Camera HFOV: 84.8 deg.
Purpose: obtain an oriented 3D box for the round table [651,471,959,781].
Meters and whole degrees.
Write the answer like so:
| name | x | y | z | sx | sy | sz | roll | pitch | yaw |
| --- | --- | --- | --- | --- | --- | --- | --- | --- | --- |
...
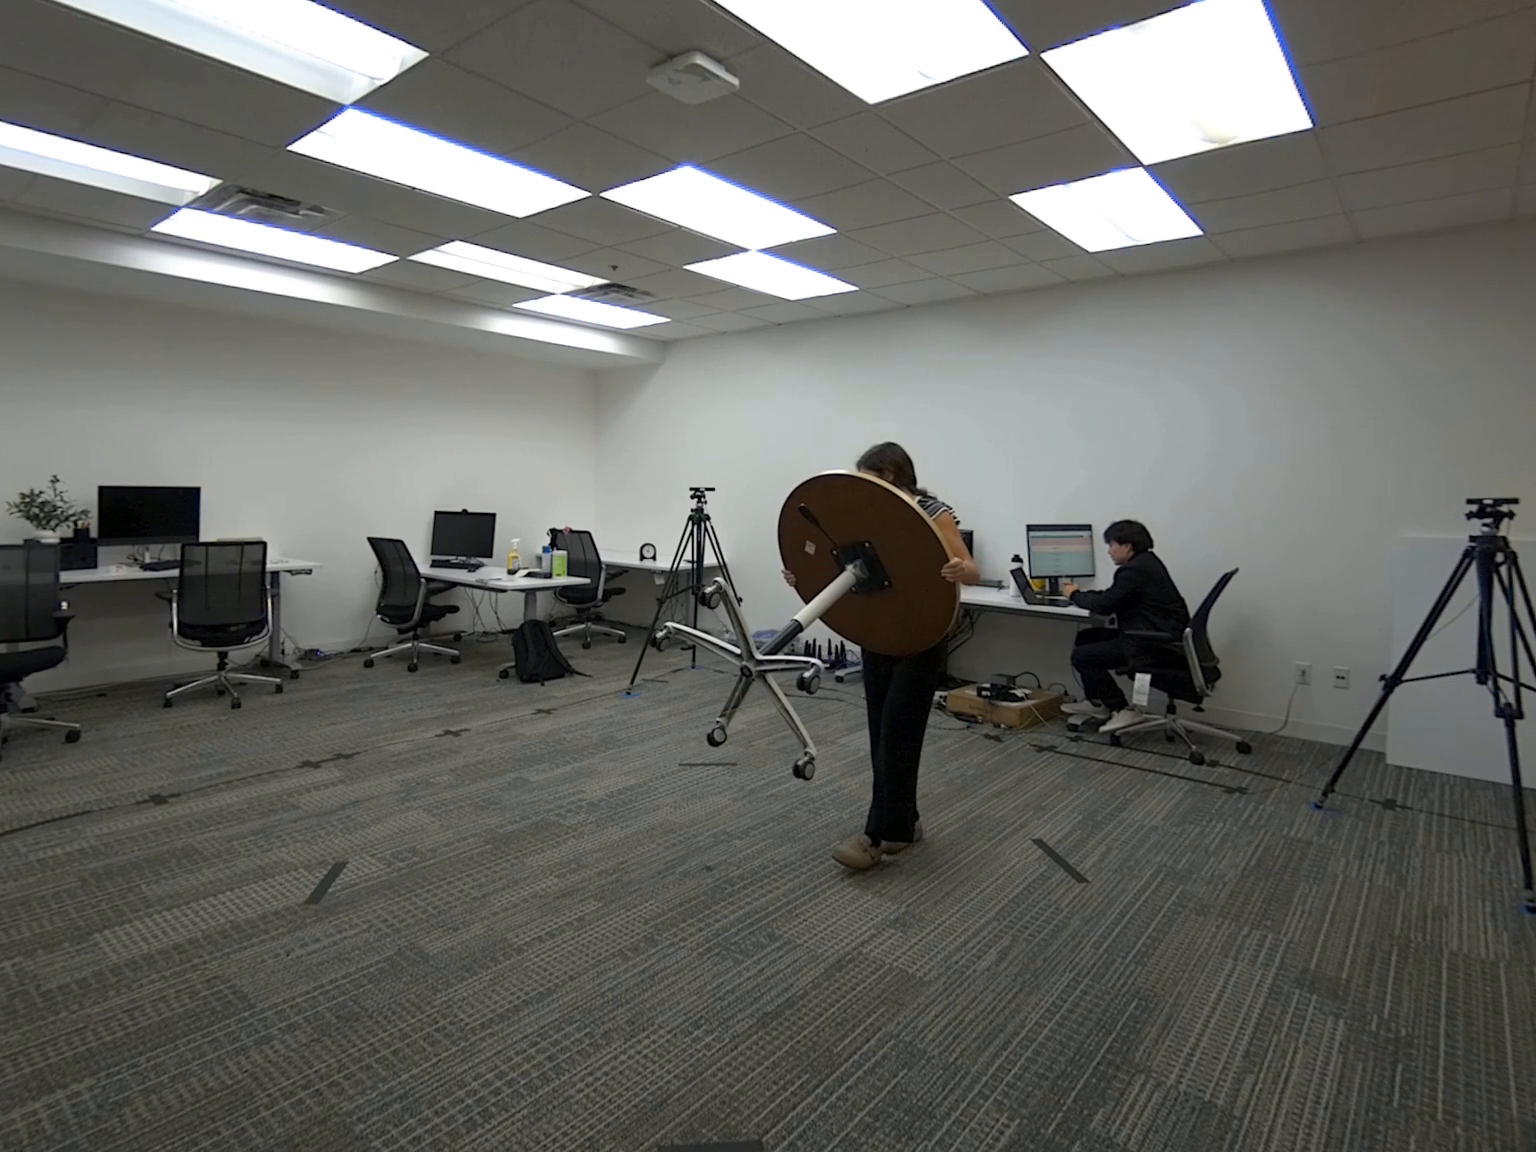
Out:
| name | x | y | z | sx | sy | sz | roll | pitch | yaw |
| --- | --- | --- | --- | --- | --- | --- | --- | --- | --- |
| round table | 0.106 | 0.159 | 2.919 | 0.790 | 0.744 | 0.788 | 5 | 32 | 42 |
